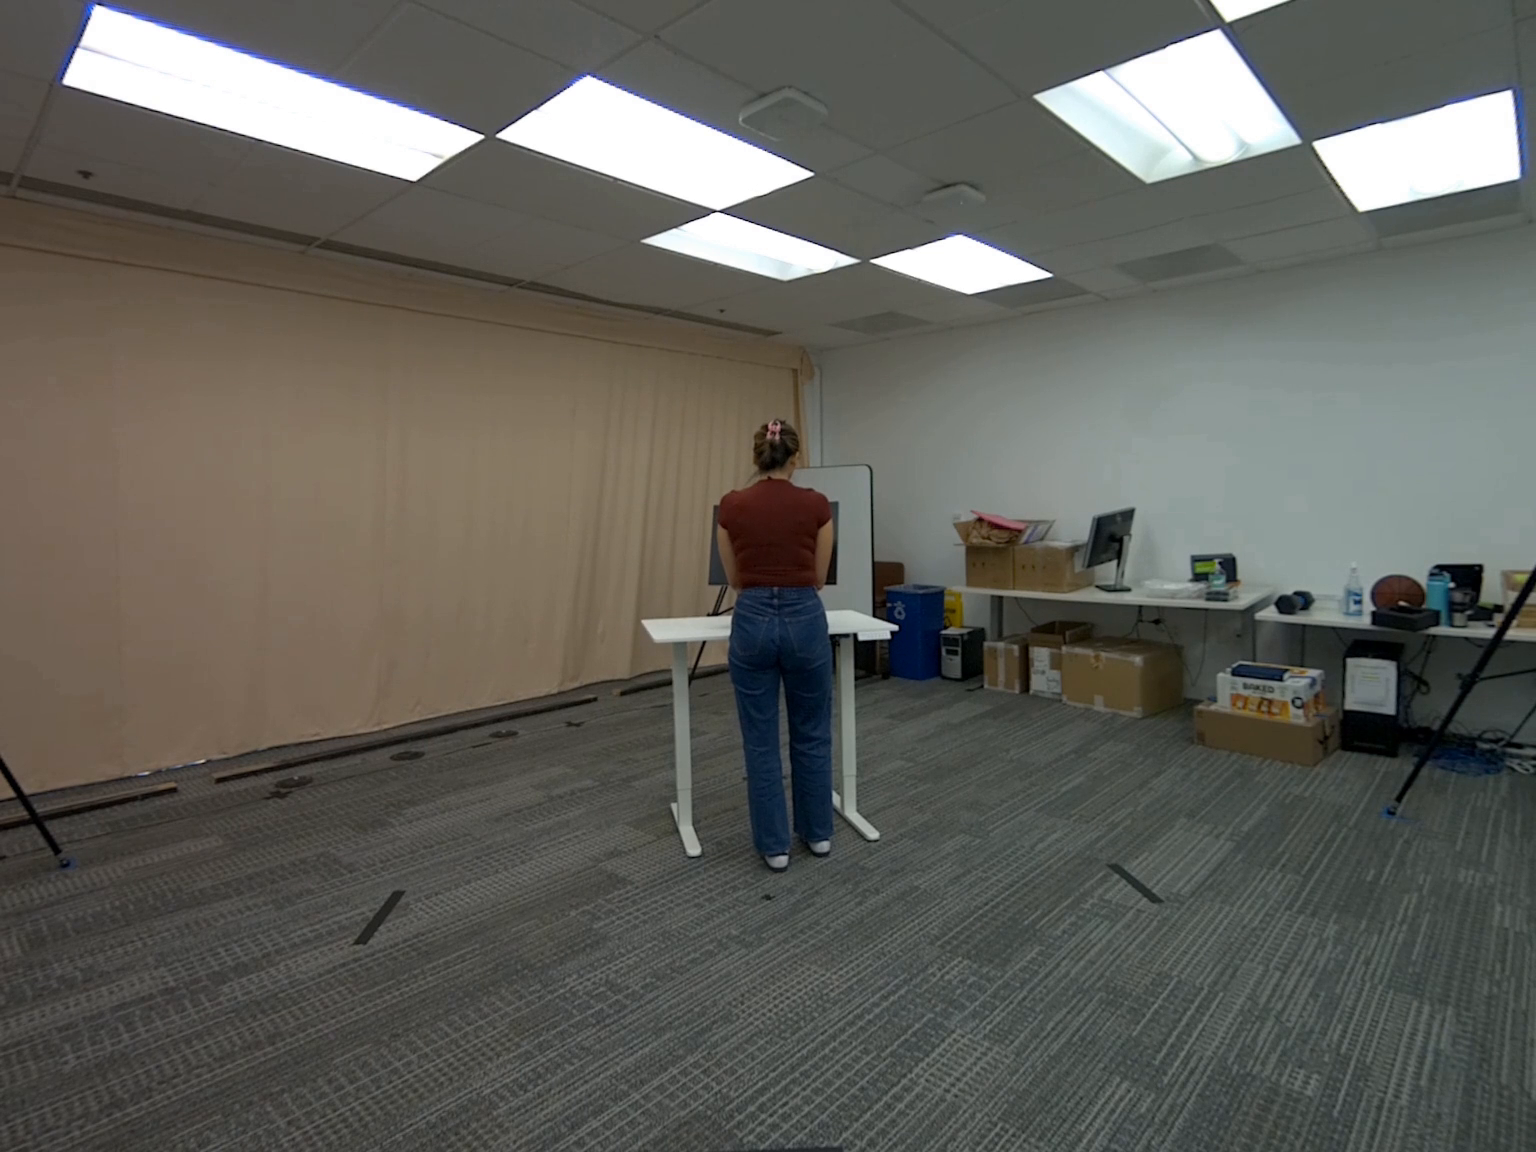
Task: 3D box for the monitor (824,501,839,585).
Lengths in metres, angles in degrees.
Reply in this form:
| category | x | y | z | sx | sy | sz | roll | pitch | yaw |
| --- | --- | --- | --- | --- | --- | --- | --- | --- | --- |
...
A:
| category | x | y | z | sx | sy | sz | roll | pitch | yaw |
| --- | --- | --- | --- | --- | --- | --- | --- | --- | --- |
| monitor | 0.041 | -0.042 | 3.513 | 0.547 | 0.523 | 0.184 | 0 | 0 | 14 |
